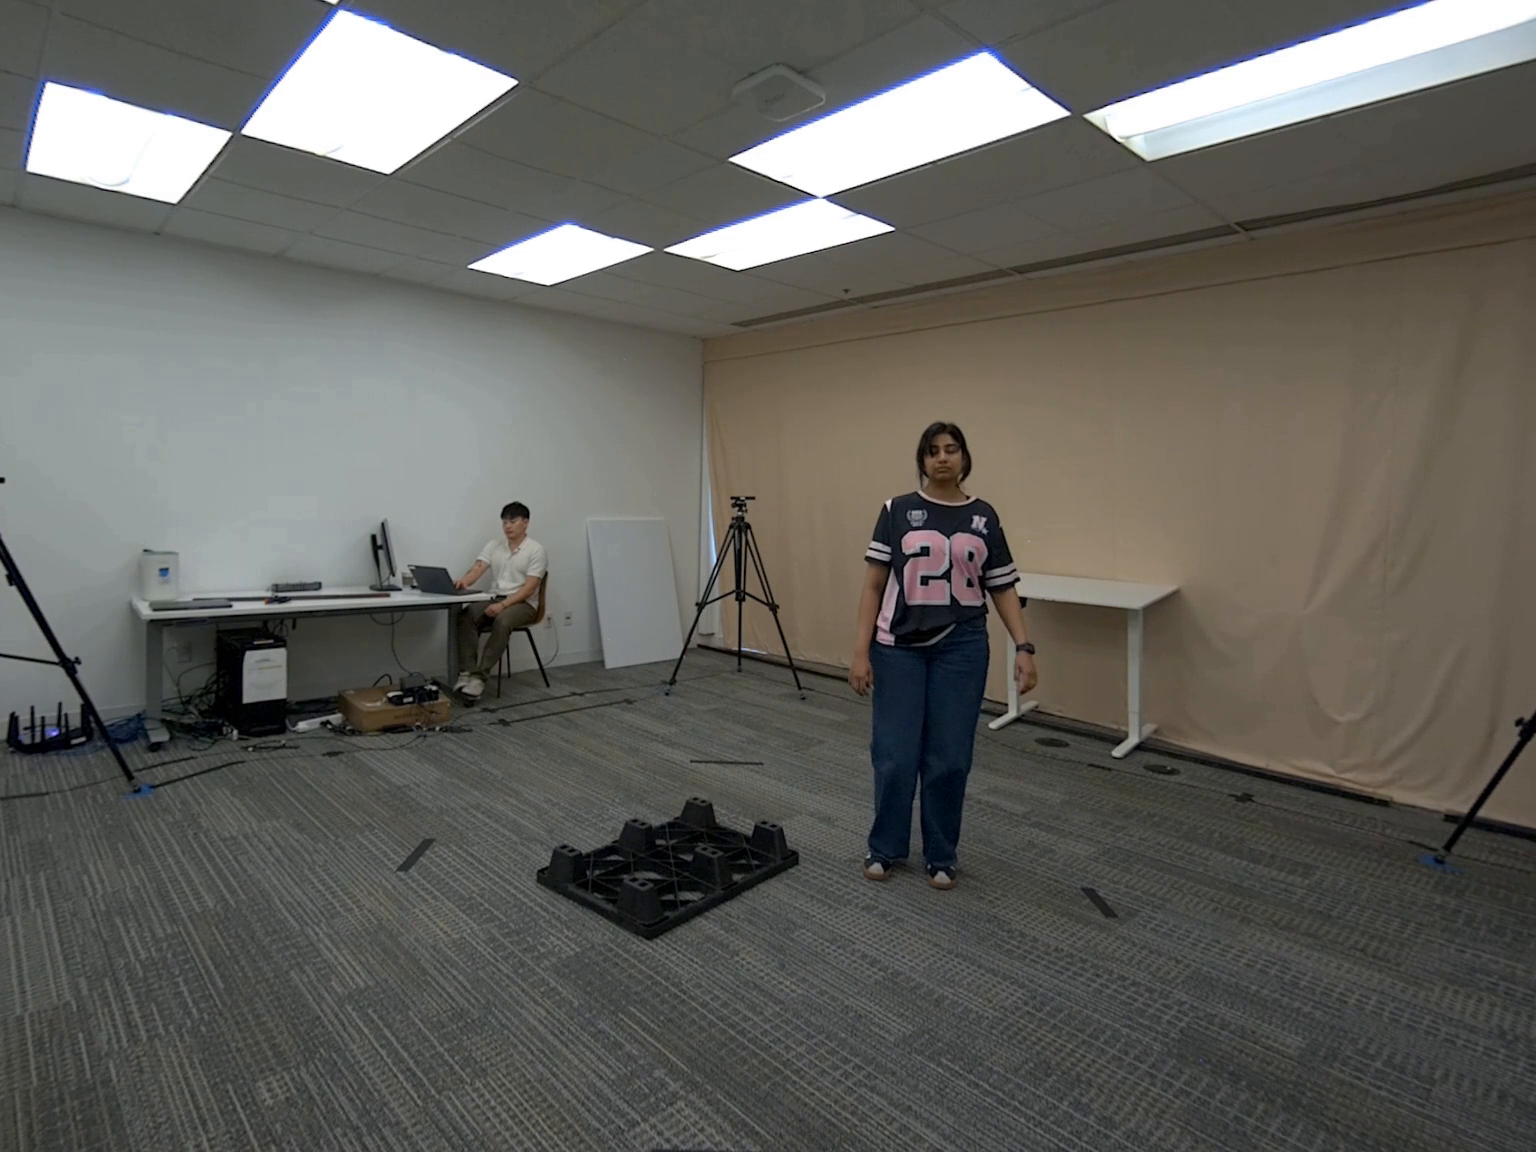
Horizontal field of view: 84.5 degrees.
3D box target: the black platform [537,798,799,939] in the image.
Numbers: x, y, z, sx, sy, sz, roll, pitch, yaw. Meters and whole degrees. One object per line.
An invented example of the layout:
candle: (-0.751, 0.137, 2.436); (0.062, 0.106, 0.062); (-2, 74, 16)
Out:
black platform: (-0.361, 1.033, 3.121); (0.620, 0.143, 0.788); (6, 7, 39)
